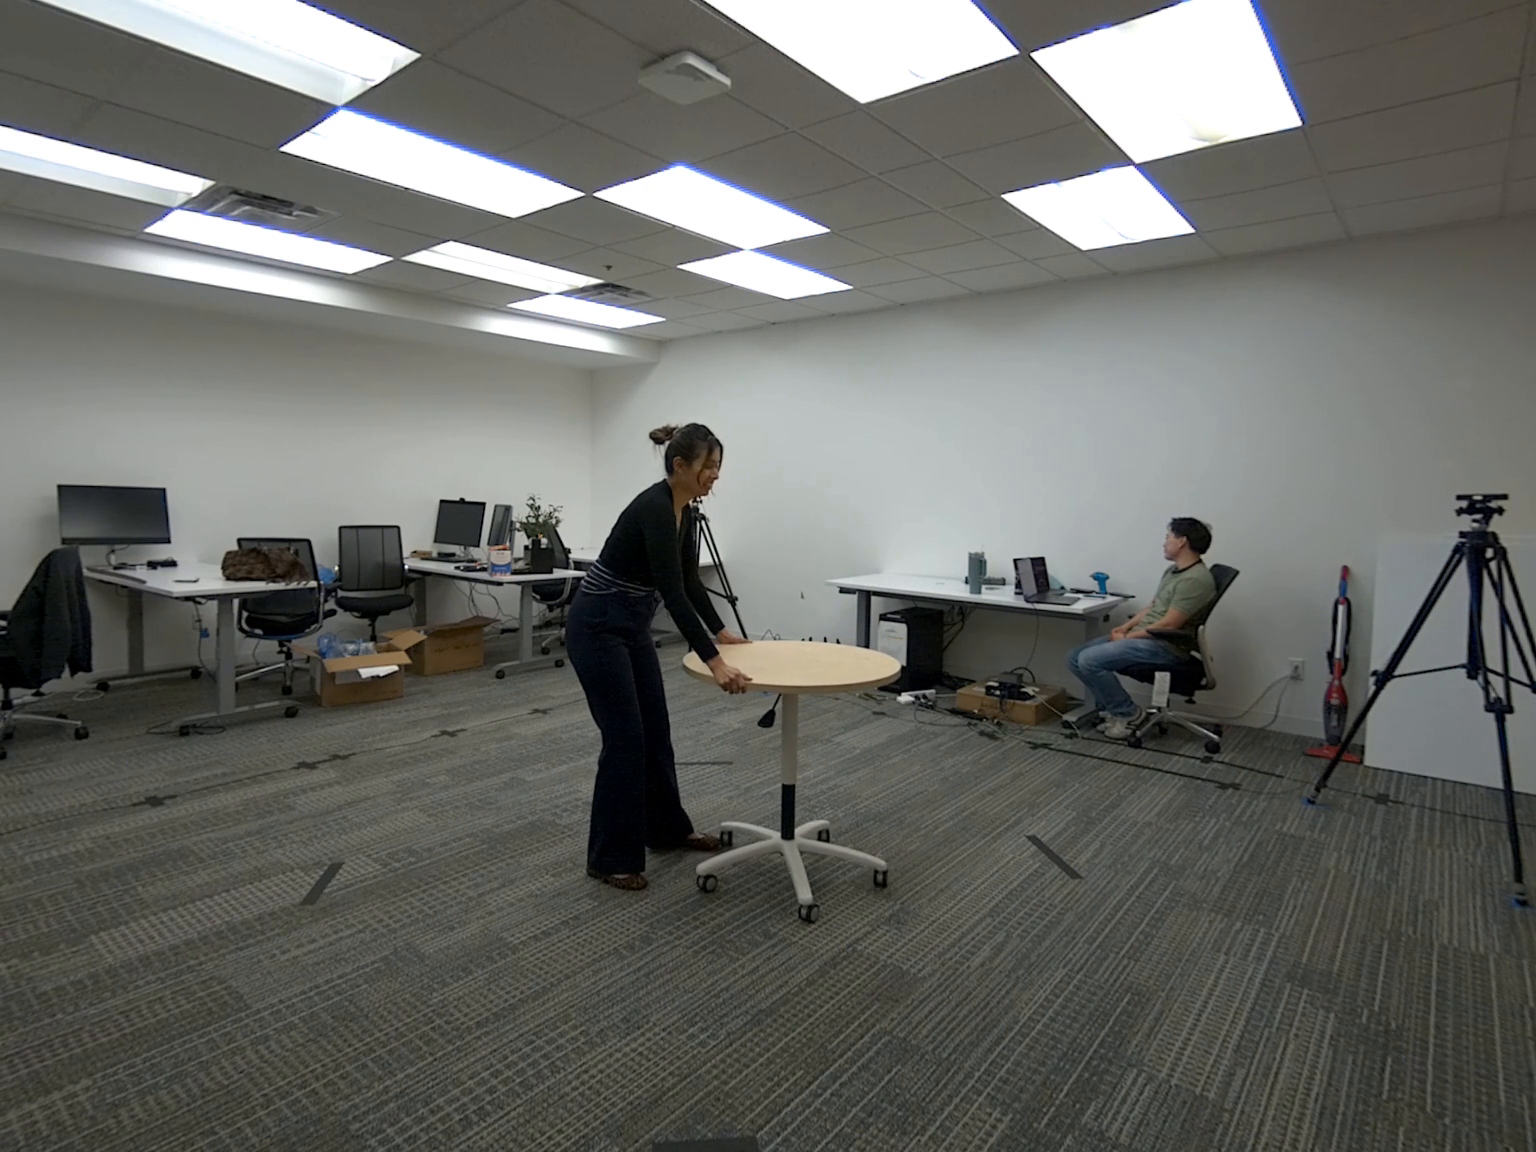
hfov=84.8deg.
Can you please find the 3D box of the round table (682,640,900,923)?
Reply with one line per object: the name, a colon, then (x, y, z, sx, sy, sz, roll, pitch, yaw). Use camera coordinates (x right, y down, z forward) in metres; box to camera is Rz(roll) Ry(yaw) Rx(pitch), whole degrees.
round table: (0.064, 0.689, 3.038, 0.763, 0.791, 0.768, 1, 5, -2)
